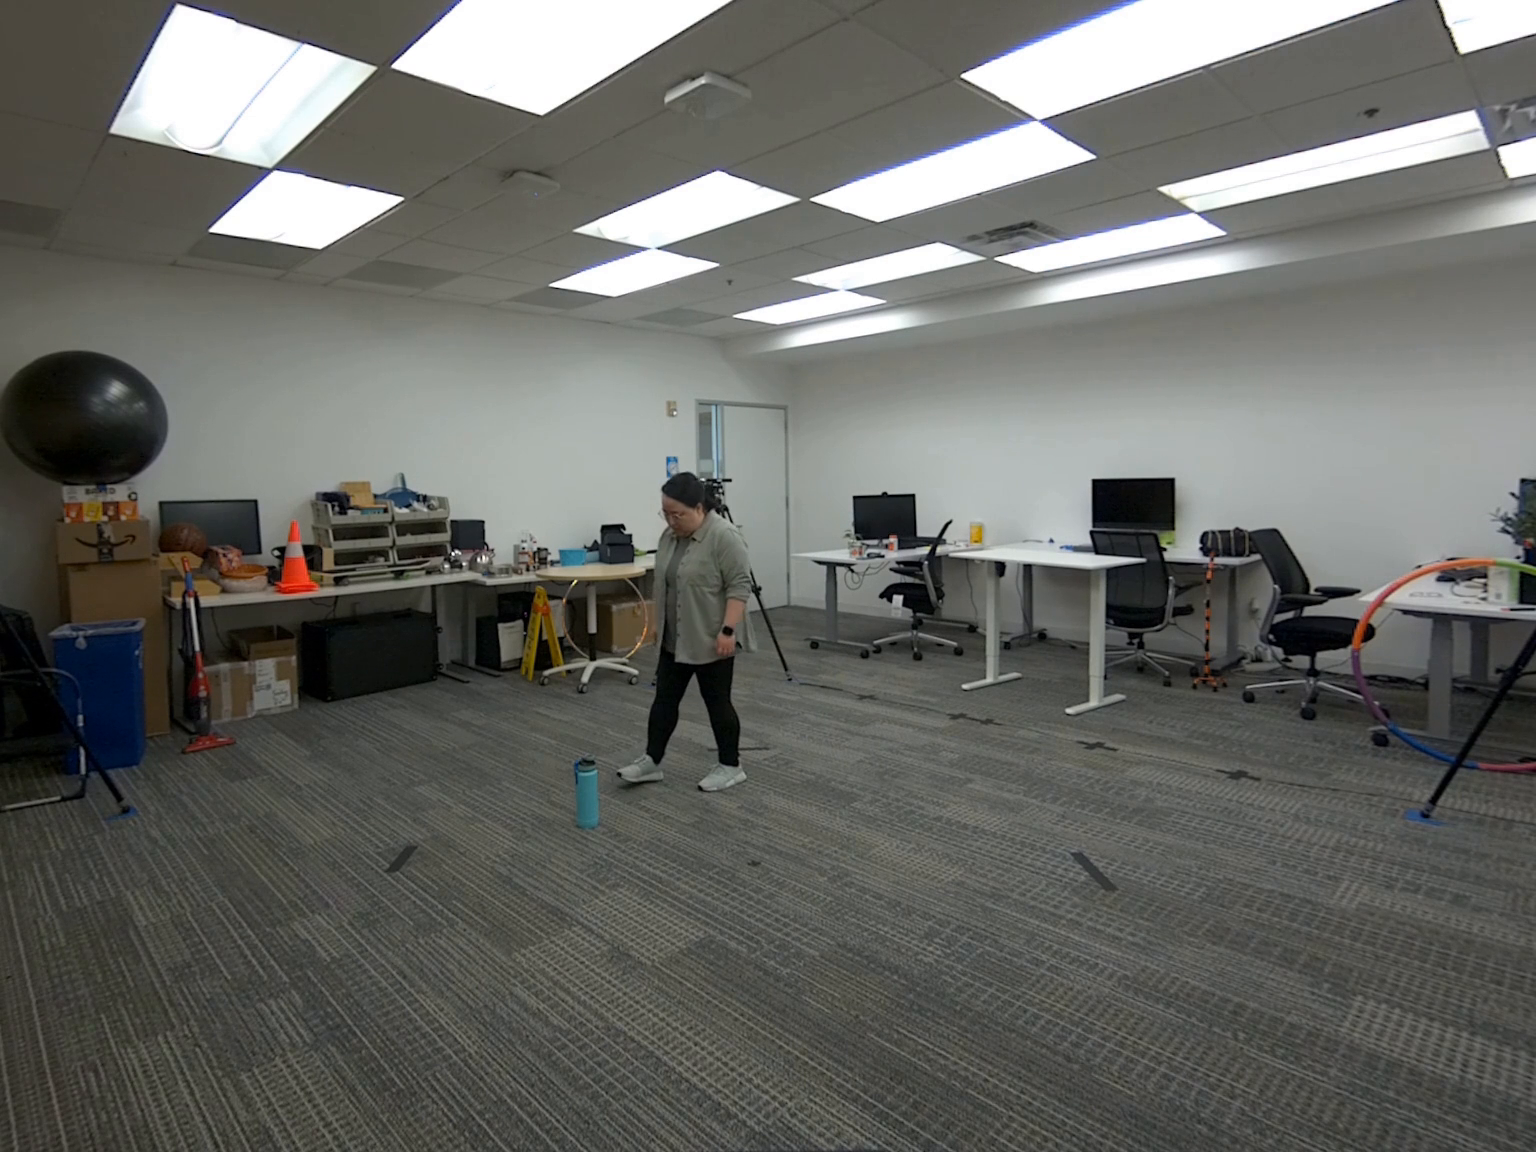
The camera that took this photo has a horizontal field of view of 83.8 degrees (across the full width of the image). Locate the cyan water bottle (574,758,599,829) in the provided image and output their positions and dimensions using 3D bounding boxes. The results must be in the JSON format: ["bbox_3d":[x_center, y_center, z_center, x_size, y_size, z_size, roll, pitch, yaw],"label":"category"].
[{"bbox_3d":[-0.742,0.877,3.492,0.092,0.283,0.092,-3,0,-2],"label":"cyan water bottle"}]
